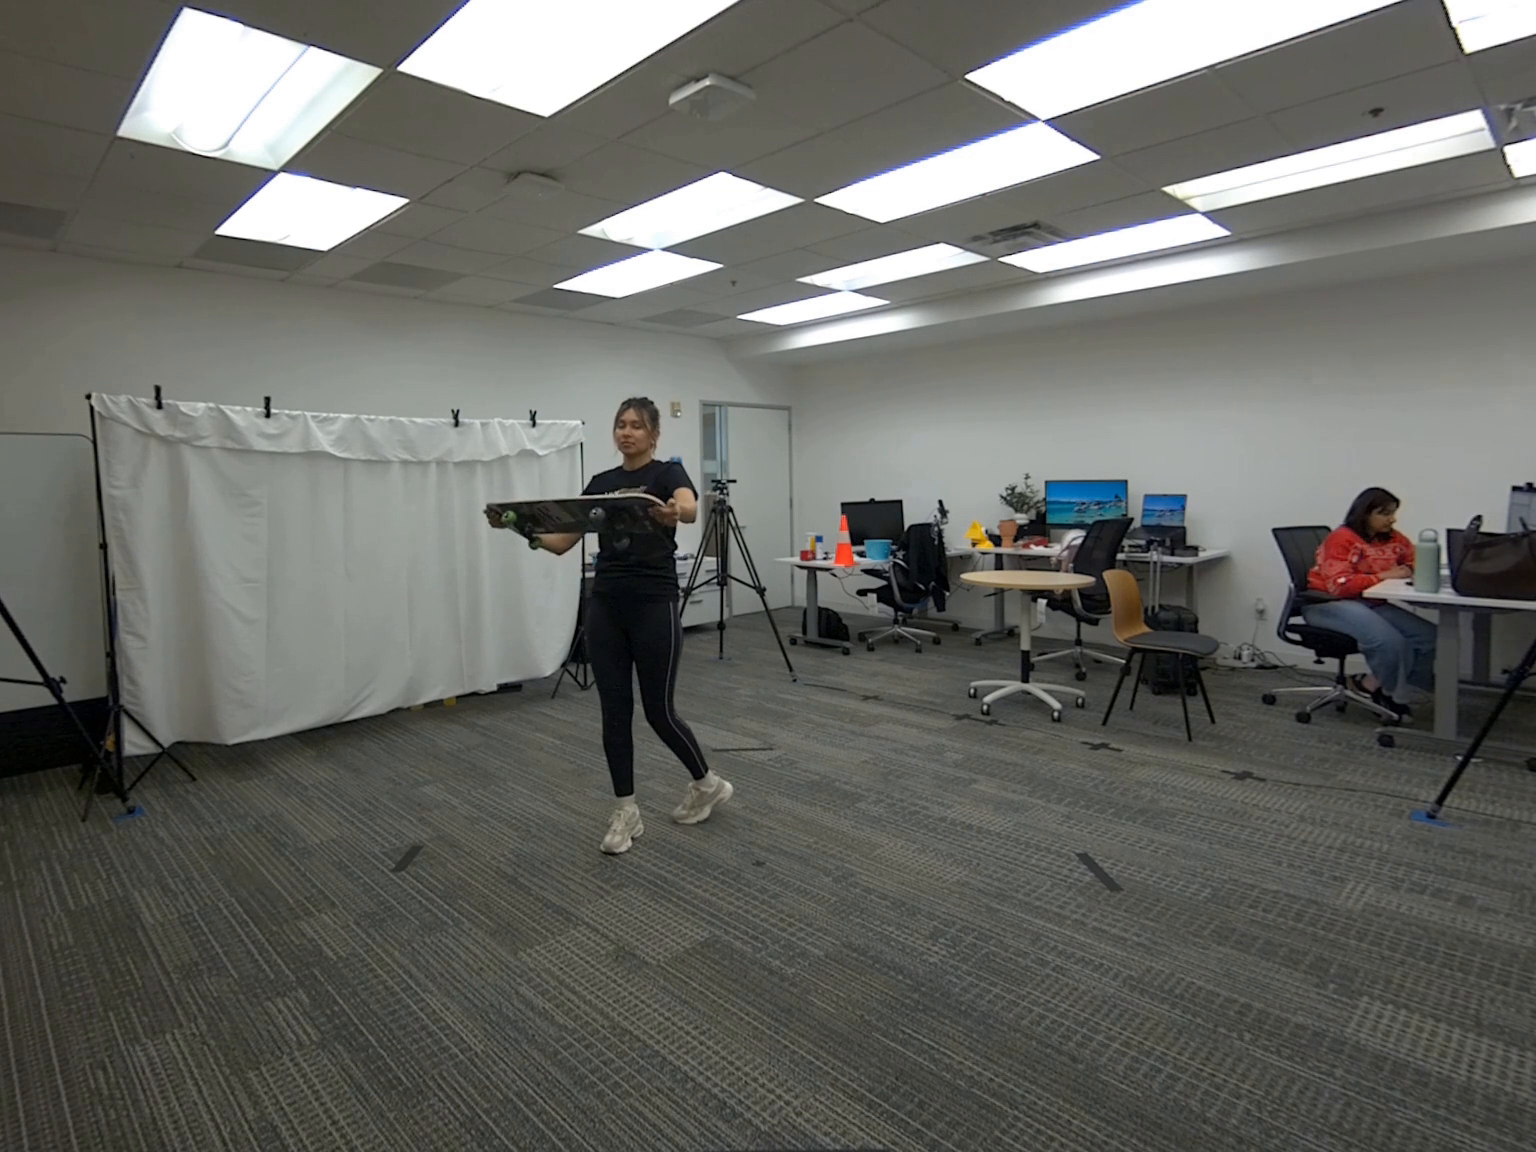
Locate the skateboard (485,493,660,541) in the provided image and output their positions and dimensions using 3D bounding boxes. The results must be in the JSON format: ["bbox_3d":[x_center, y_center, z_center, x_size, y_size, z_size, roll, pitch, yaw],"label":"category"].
[{"bbox_3d":[-0.693,-0.180,2.920,0.807,0.111,0.186,1,-38,34],"label":"skateboard"}]
